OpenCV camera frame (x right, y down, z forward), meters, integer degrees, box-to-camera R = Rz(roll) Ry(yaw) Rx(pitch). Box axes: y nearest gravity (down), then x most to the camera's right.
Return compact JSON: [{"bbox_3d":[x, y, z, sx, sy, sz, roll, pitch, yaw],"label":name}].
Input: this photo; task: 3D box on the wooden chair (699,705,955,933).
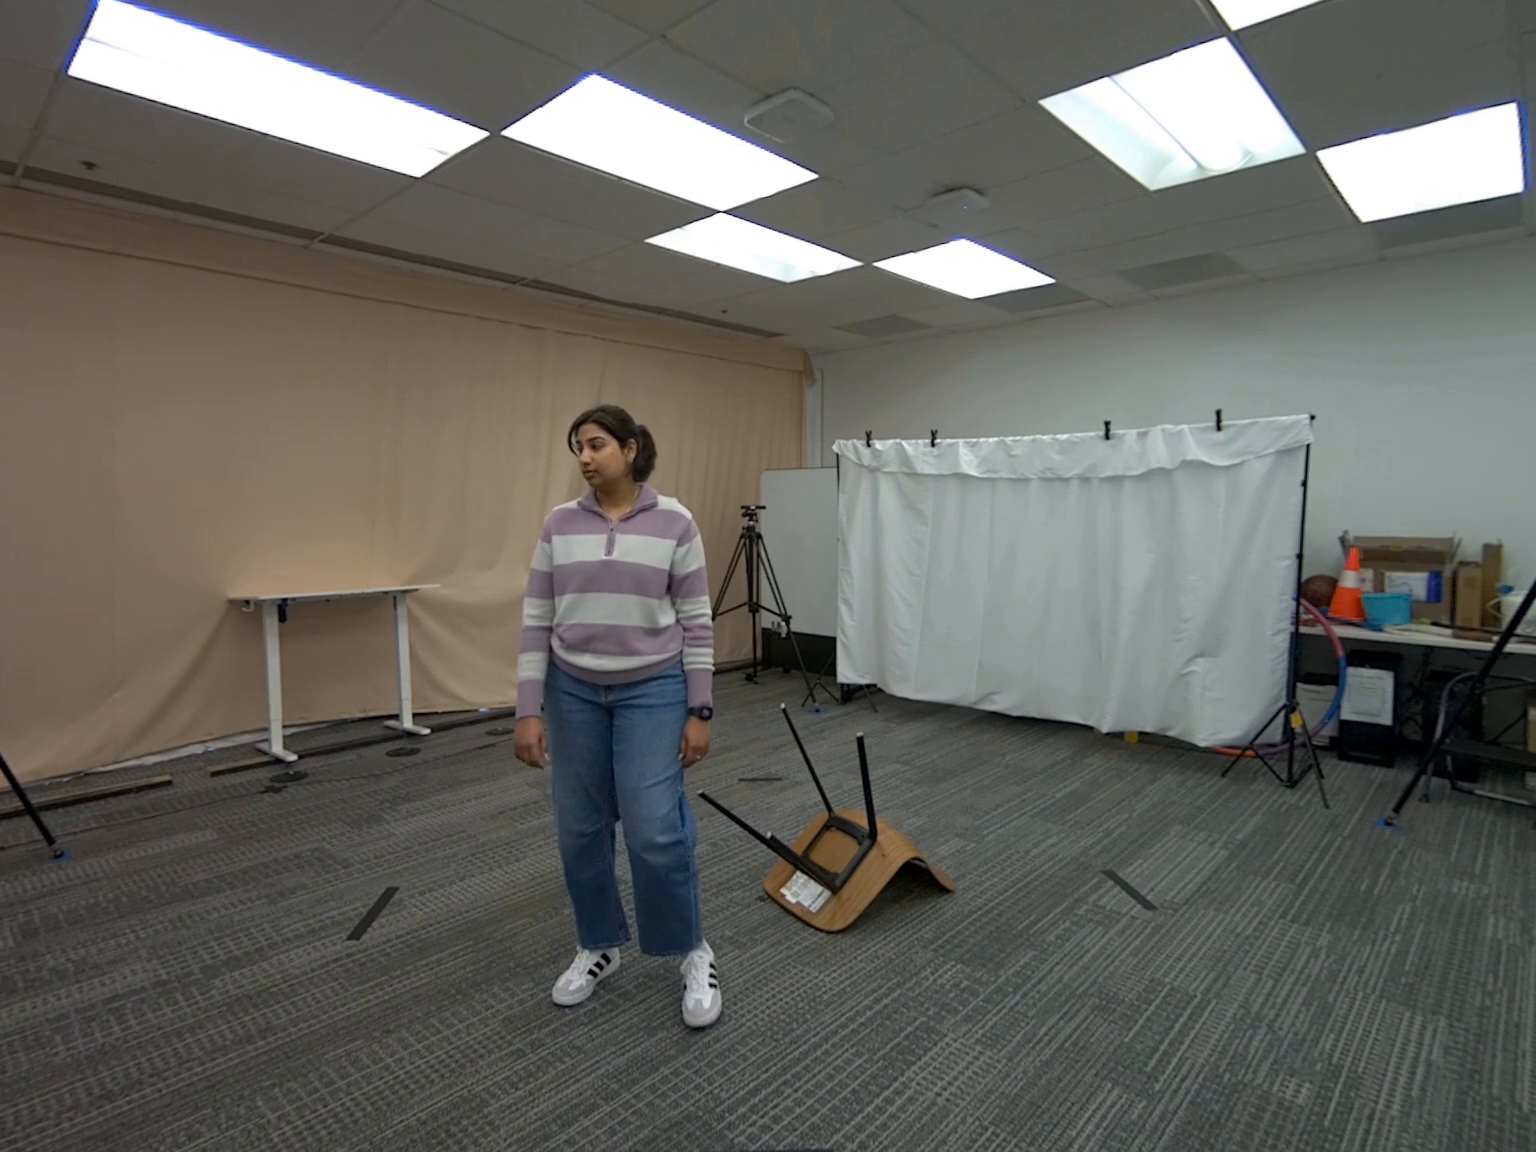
[{"bbox_3d":[0.231,0.972,2.975,0.520,0.857,0.492,-46,25,-21],"label":"wooden chair"}]
